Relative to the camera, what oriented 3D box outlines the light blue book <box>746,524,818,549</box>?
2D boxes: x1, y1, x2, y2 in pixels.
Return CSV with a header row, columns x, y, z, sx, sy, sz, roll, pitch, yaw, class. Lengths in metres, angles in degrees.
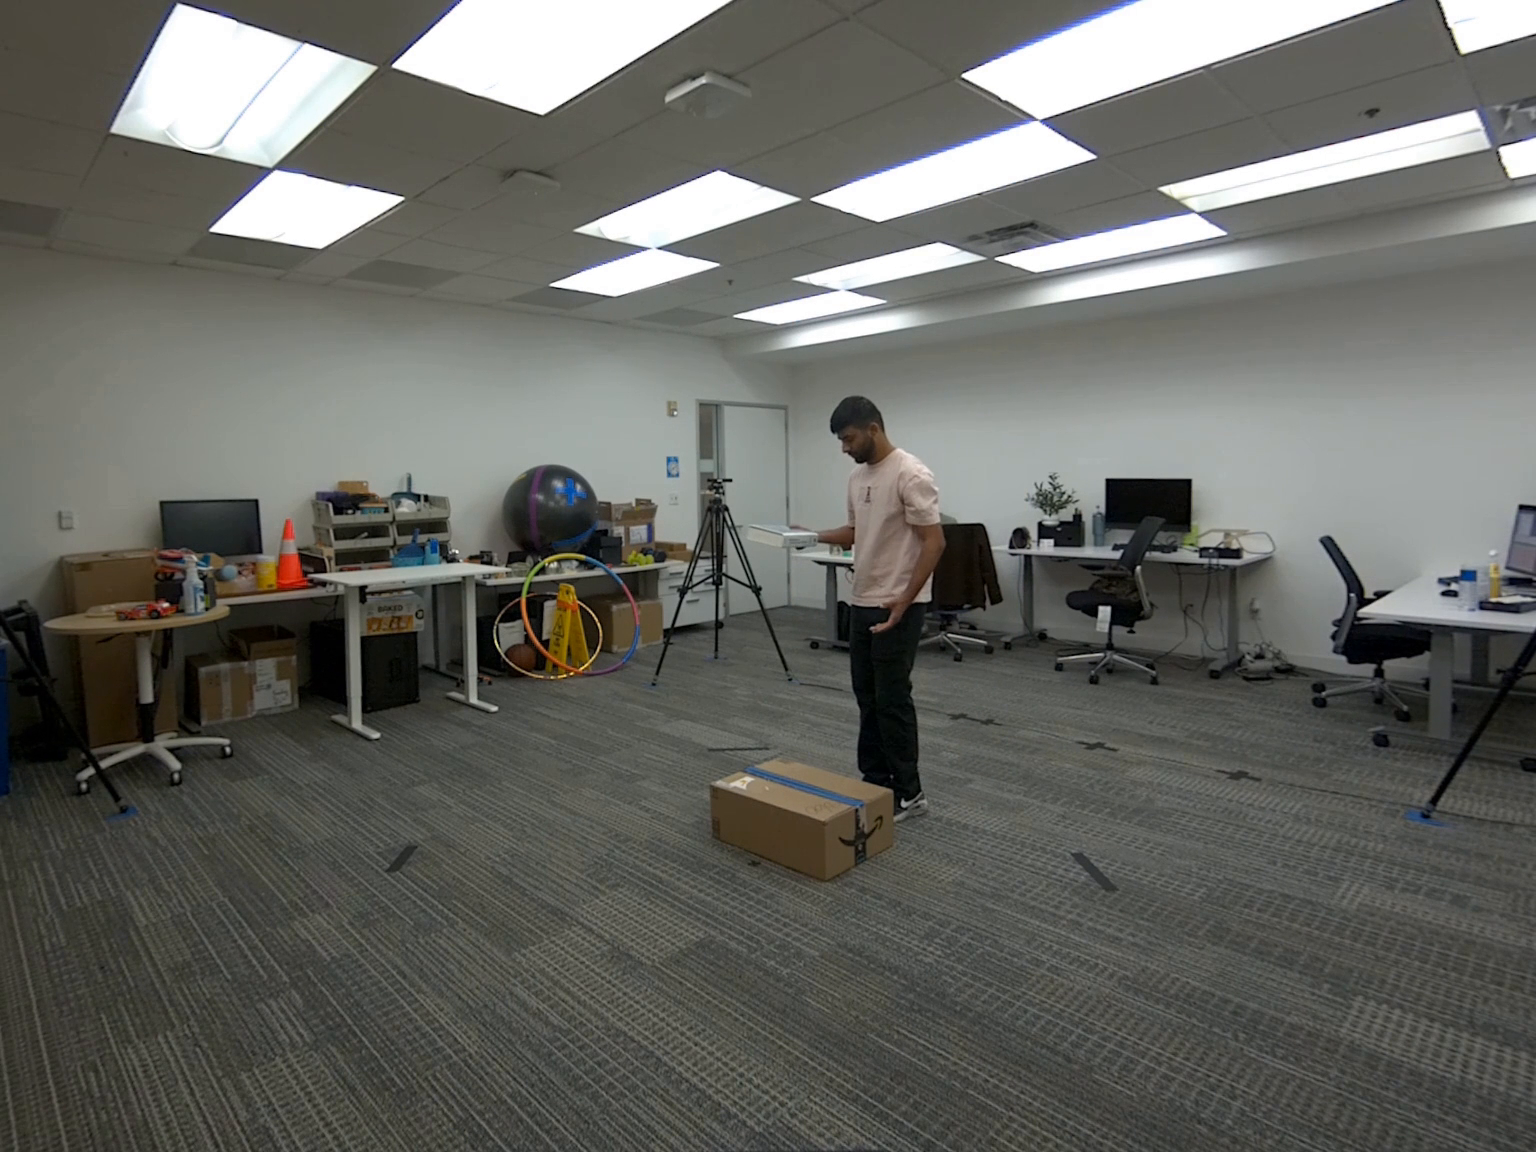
x,y,z,sx,sy,sz,roll,pitch,yaw,class
0.053,-0.167,3.575,0.186,0.058,0.270,0,11,-37,light blue book
